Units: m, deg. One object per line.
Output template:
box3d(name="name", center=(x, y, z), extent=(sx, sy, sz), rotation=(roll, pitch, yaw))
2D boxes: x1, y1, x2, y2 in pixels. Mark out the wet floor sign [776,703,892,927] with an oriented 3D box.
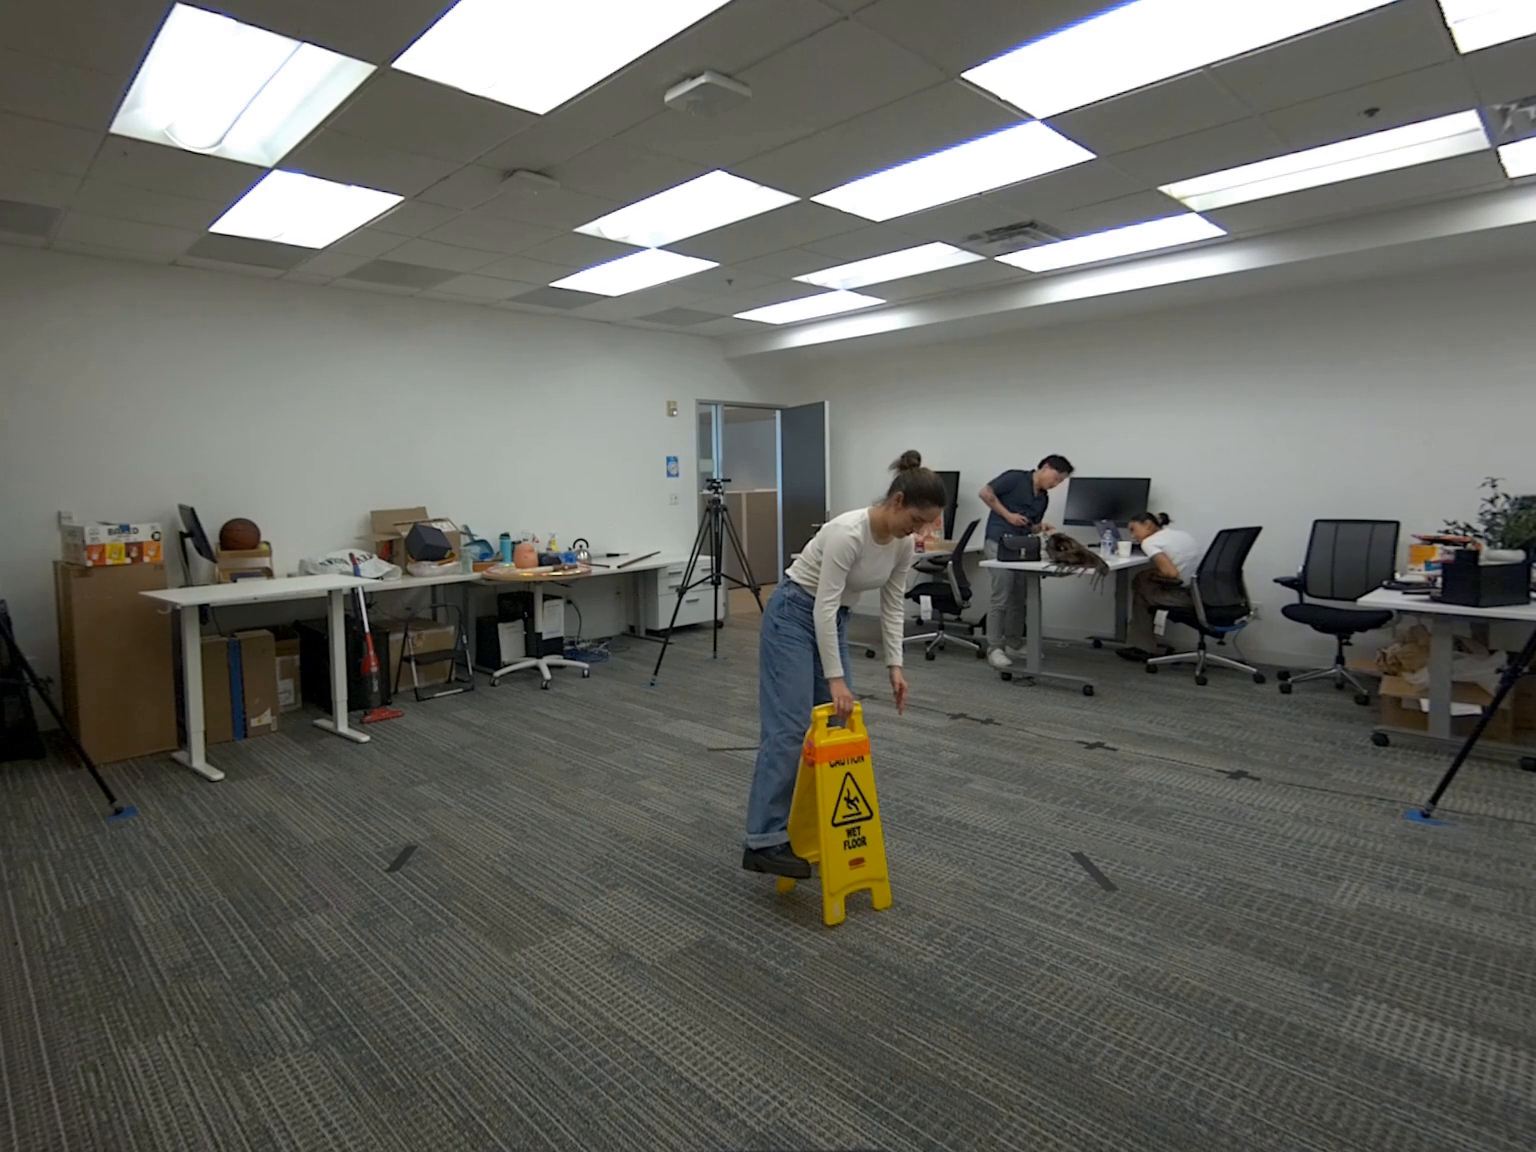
box3d(name="wet floor sign", center=(0.220, 0.747, 2.821), extent=(0.274, 0.645, 0.298), rotation=(1, 1, -37))
